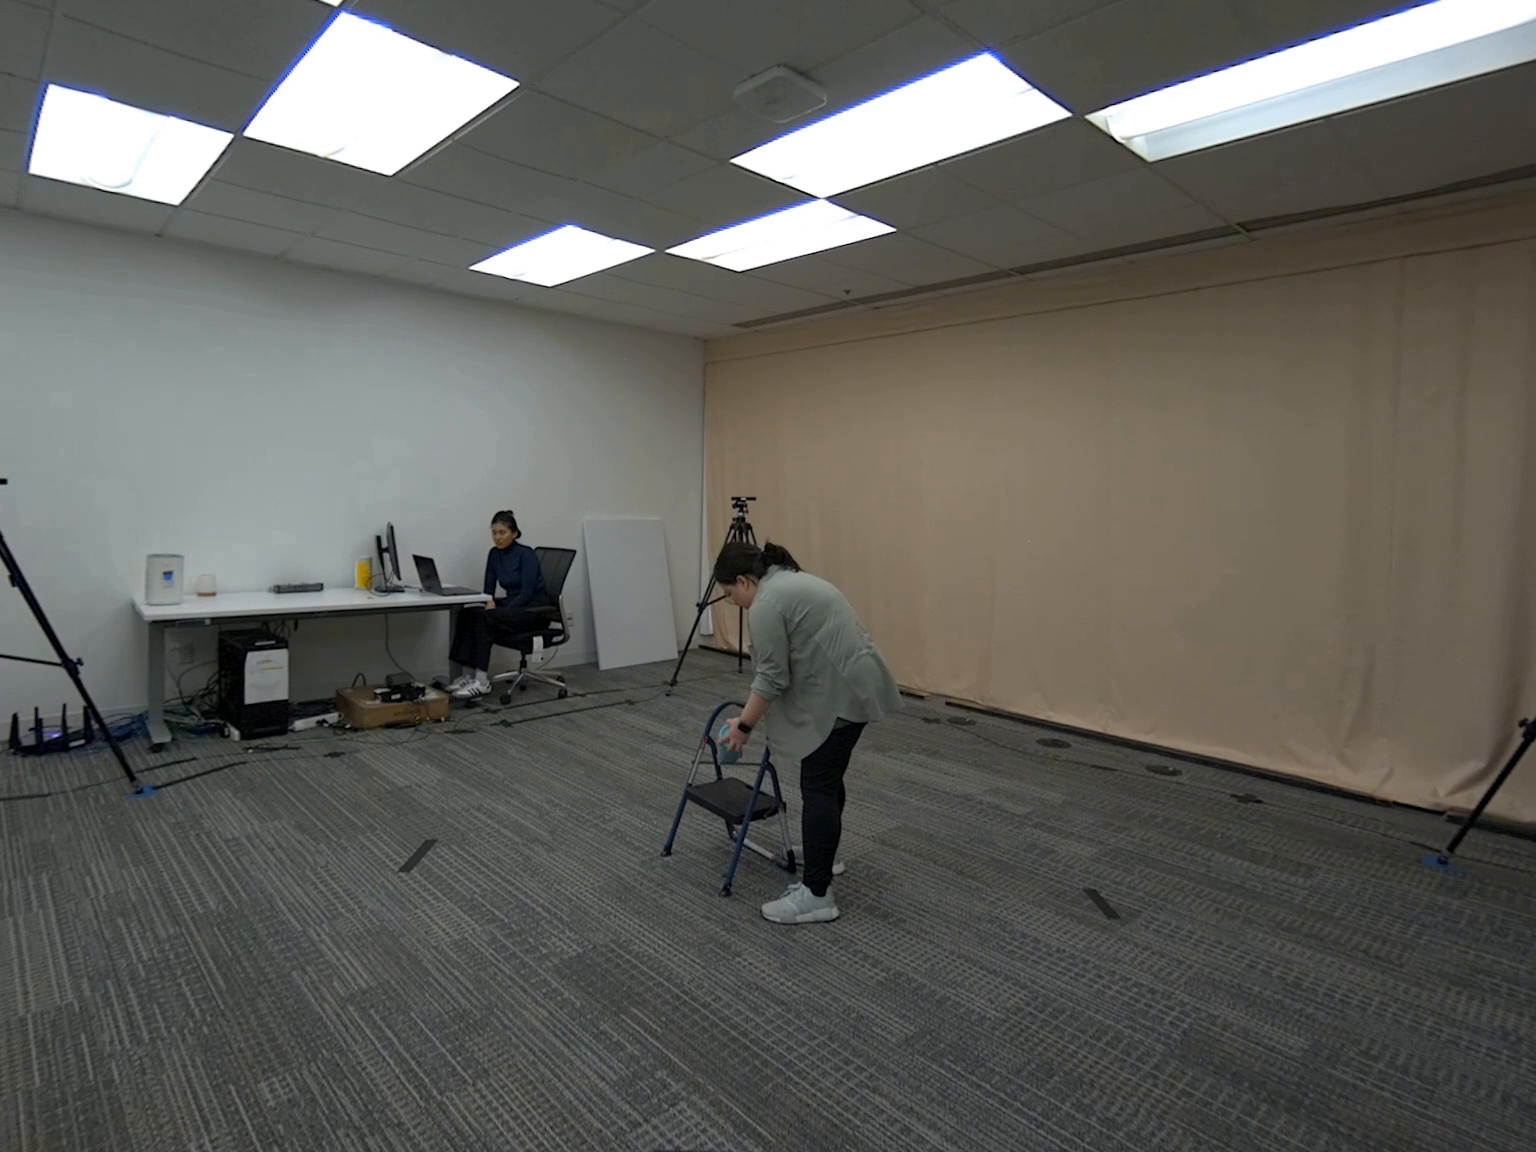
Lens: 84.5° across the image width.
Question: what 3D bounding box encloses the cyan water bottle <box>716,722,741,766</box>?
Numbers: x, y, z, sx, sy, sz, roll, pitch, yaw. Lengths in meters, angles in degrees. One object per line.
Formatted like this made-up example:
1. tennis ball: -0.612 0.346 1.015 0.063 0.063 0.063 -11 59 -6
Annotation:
1. cyan water bottle: -0.139 0.625 3.133 0.092 0.094 0.278 2 -29 -2
